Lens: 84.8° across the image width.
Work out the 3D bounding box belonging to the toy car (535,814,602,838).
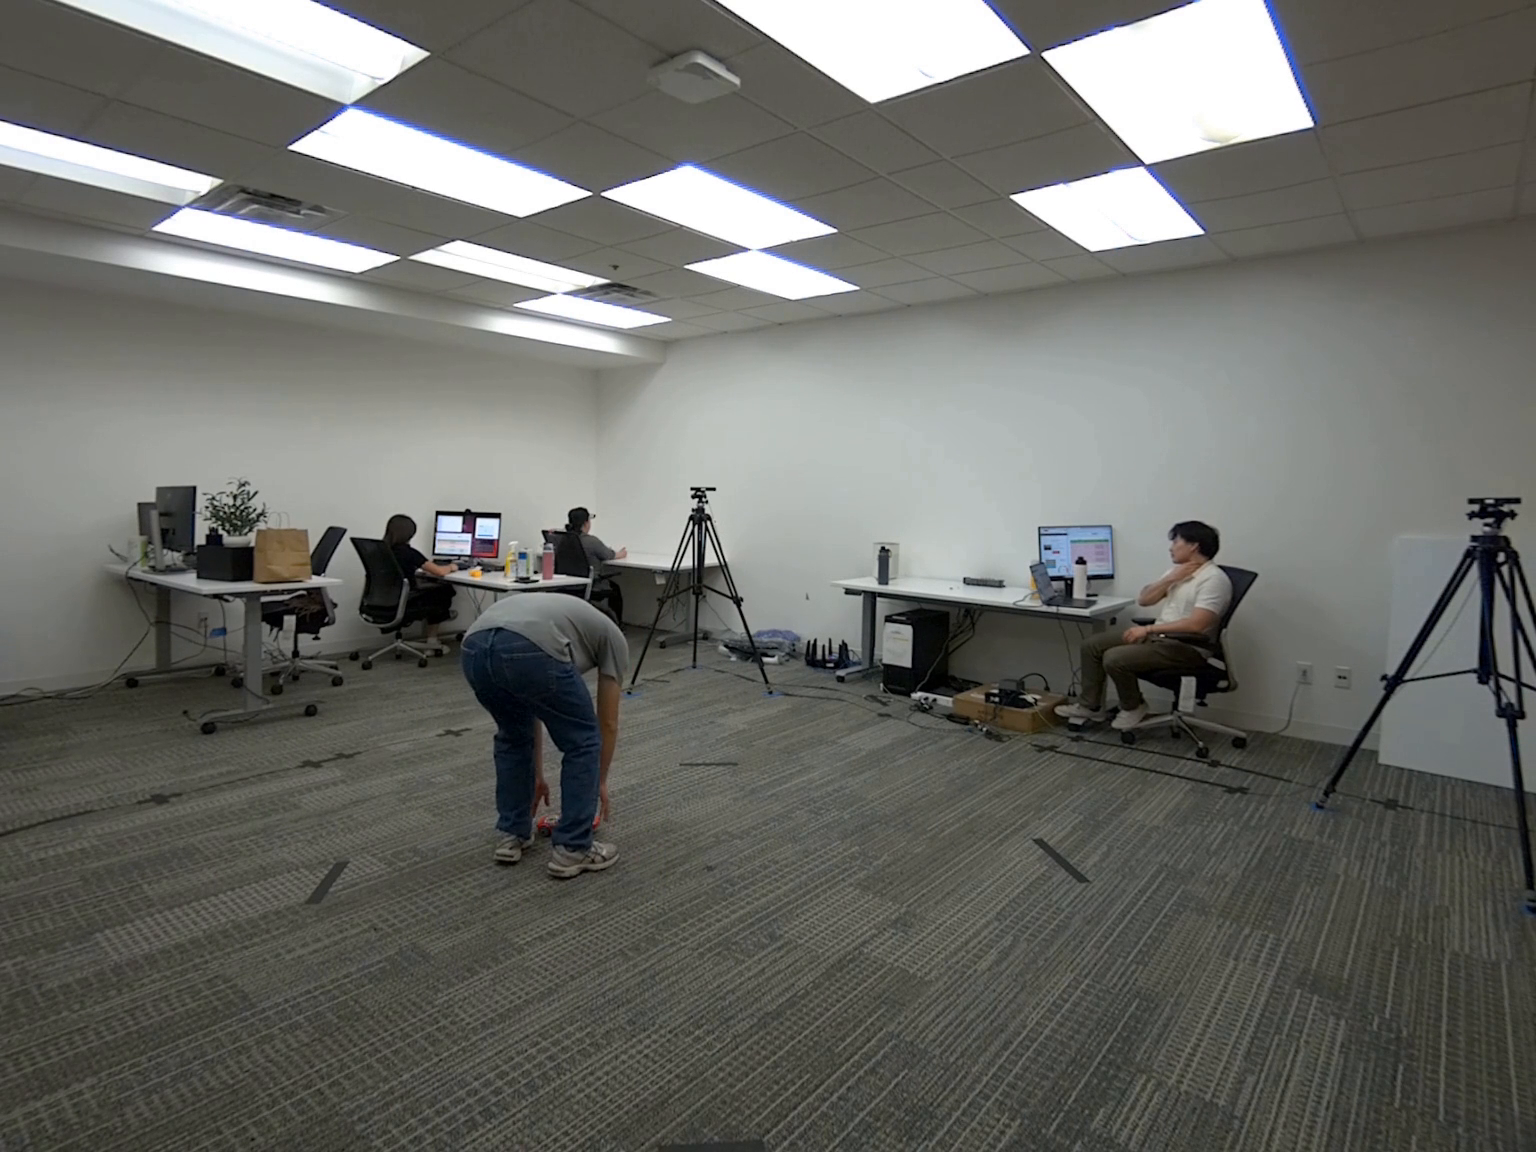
[{"bbox_3d":[-0.801,0.991,3.409,0.255,0.083,0.130,-9,4,1],"label":"toy car"}]
